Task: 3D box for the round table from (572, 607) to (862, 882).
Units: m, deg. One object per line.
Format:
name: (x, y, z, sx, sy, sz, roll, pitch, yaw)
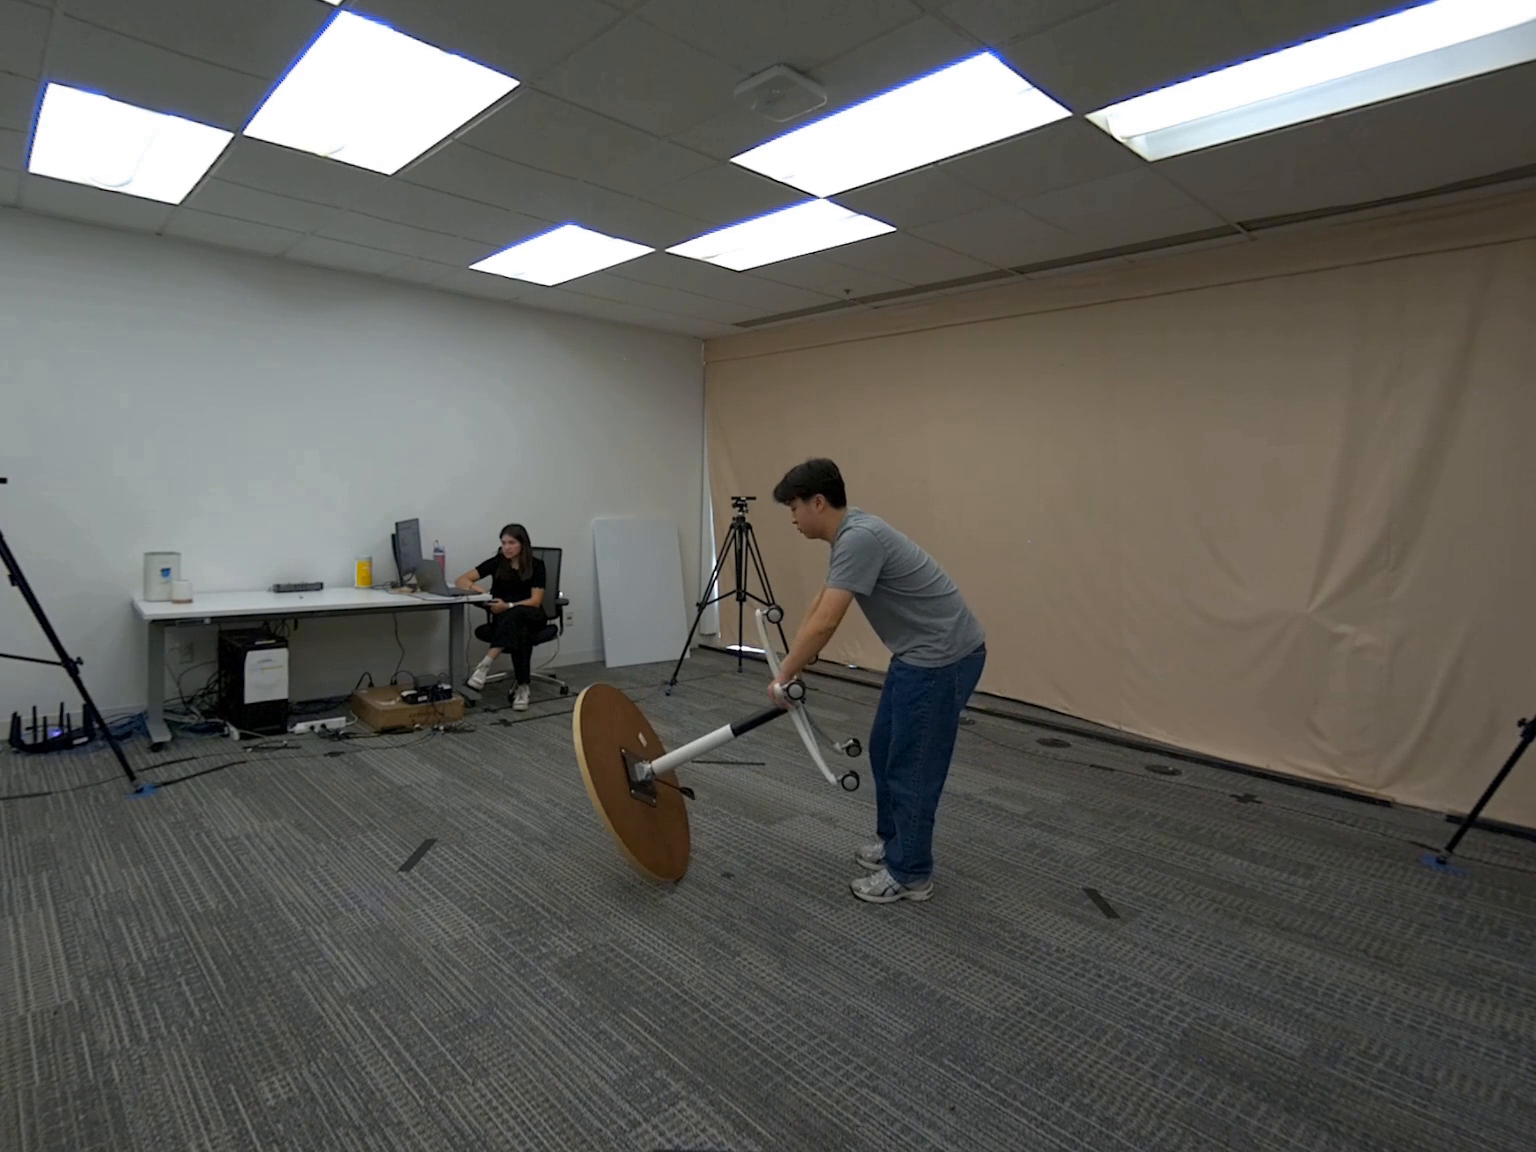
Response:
round table: (-0.165, 0.579, 3.076, 0.796, 0.765, 0.760, -28, 0, 9)
